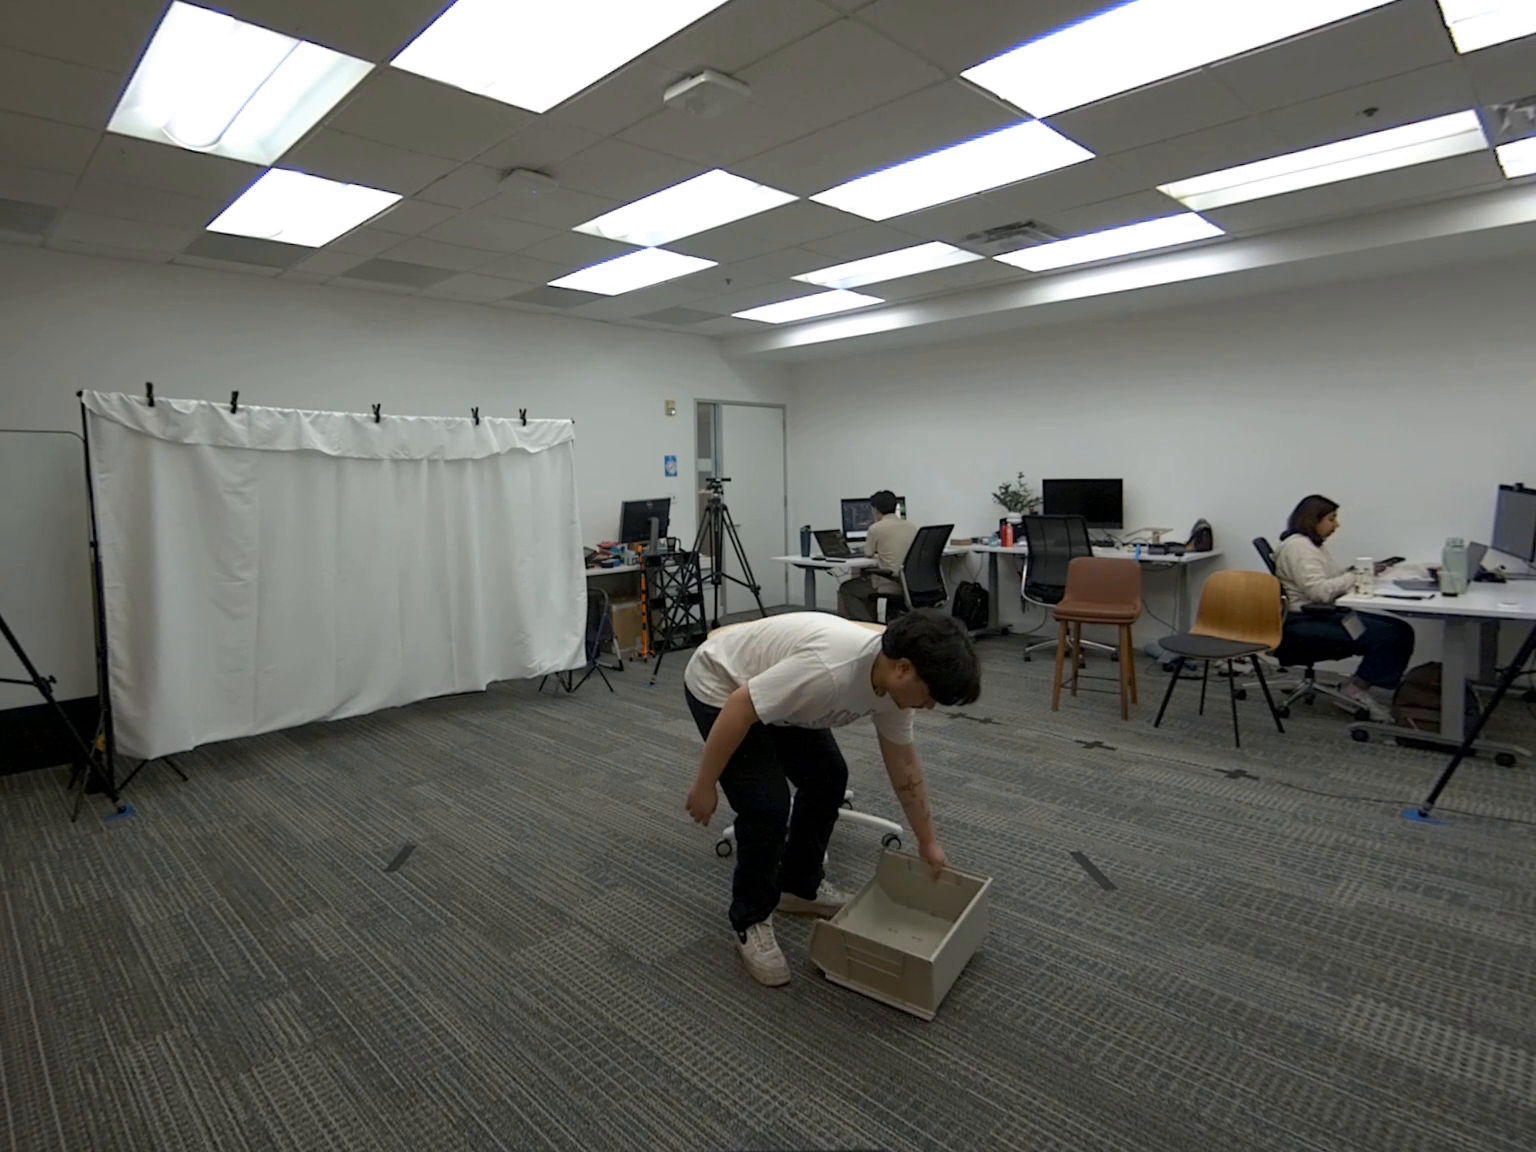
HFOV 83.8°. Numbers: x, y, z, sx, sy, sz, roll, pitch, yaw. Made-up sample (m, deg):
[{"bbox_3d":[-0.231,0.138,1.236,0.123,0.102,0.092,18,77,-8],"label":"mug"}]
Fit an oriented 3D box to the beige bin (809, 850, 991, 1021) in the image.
[{"bbox_3d":[0.387,0.985,2.425,0.389,0.187,0.414,5,15,35],"label":"beige bin"}]
